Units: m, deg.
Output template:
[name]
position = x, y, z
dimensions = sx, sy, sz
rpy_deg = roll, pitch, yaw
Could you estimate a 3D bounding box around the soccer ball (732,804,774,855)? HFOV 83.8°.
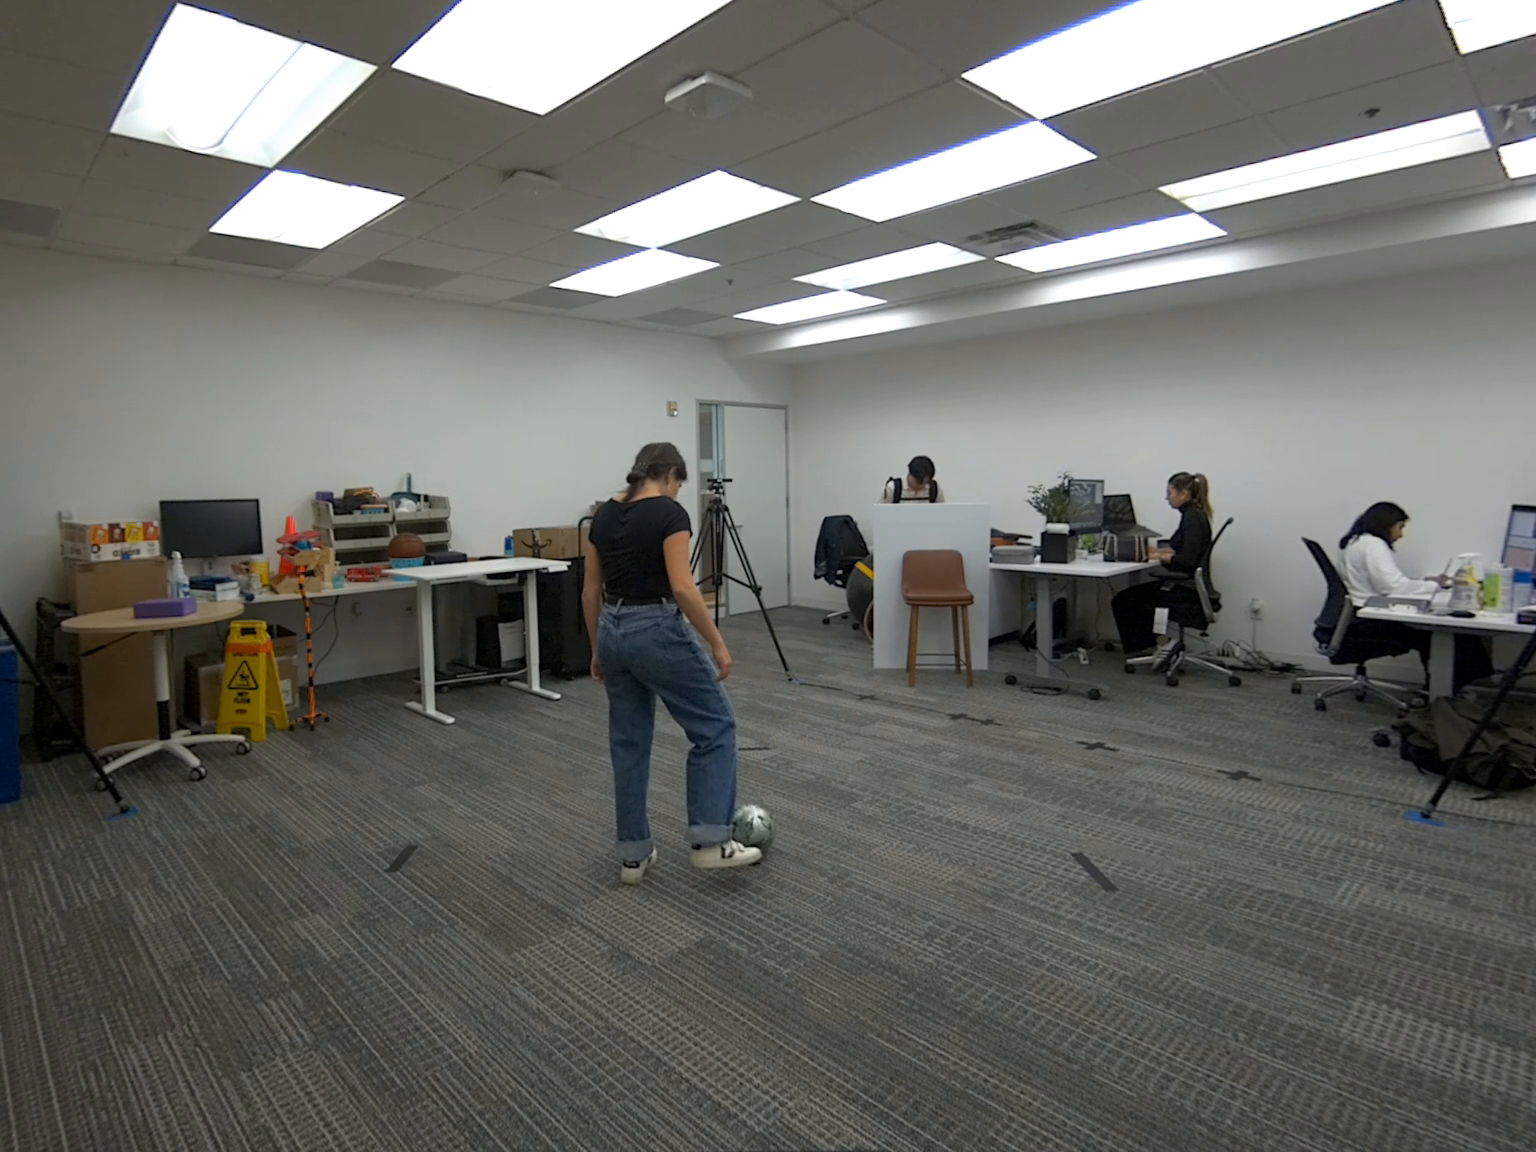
[soccer ball]
position = -0.062, 0.943, 3.185
dimensions = 0.187, 0.187, 0.188
rpy_deg = -1, 5, -2
